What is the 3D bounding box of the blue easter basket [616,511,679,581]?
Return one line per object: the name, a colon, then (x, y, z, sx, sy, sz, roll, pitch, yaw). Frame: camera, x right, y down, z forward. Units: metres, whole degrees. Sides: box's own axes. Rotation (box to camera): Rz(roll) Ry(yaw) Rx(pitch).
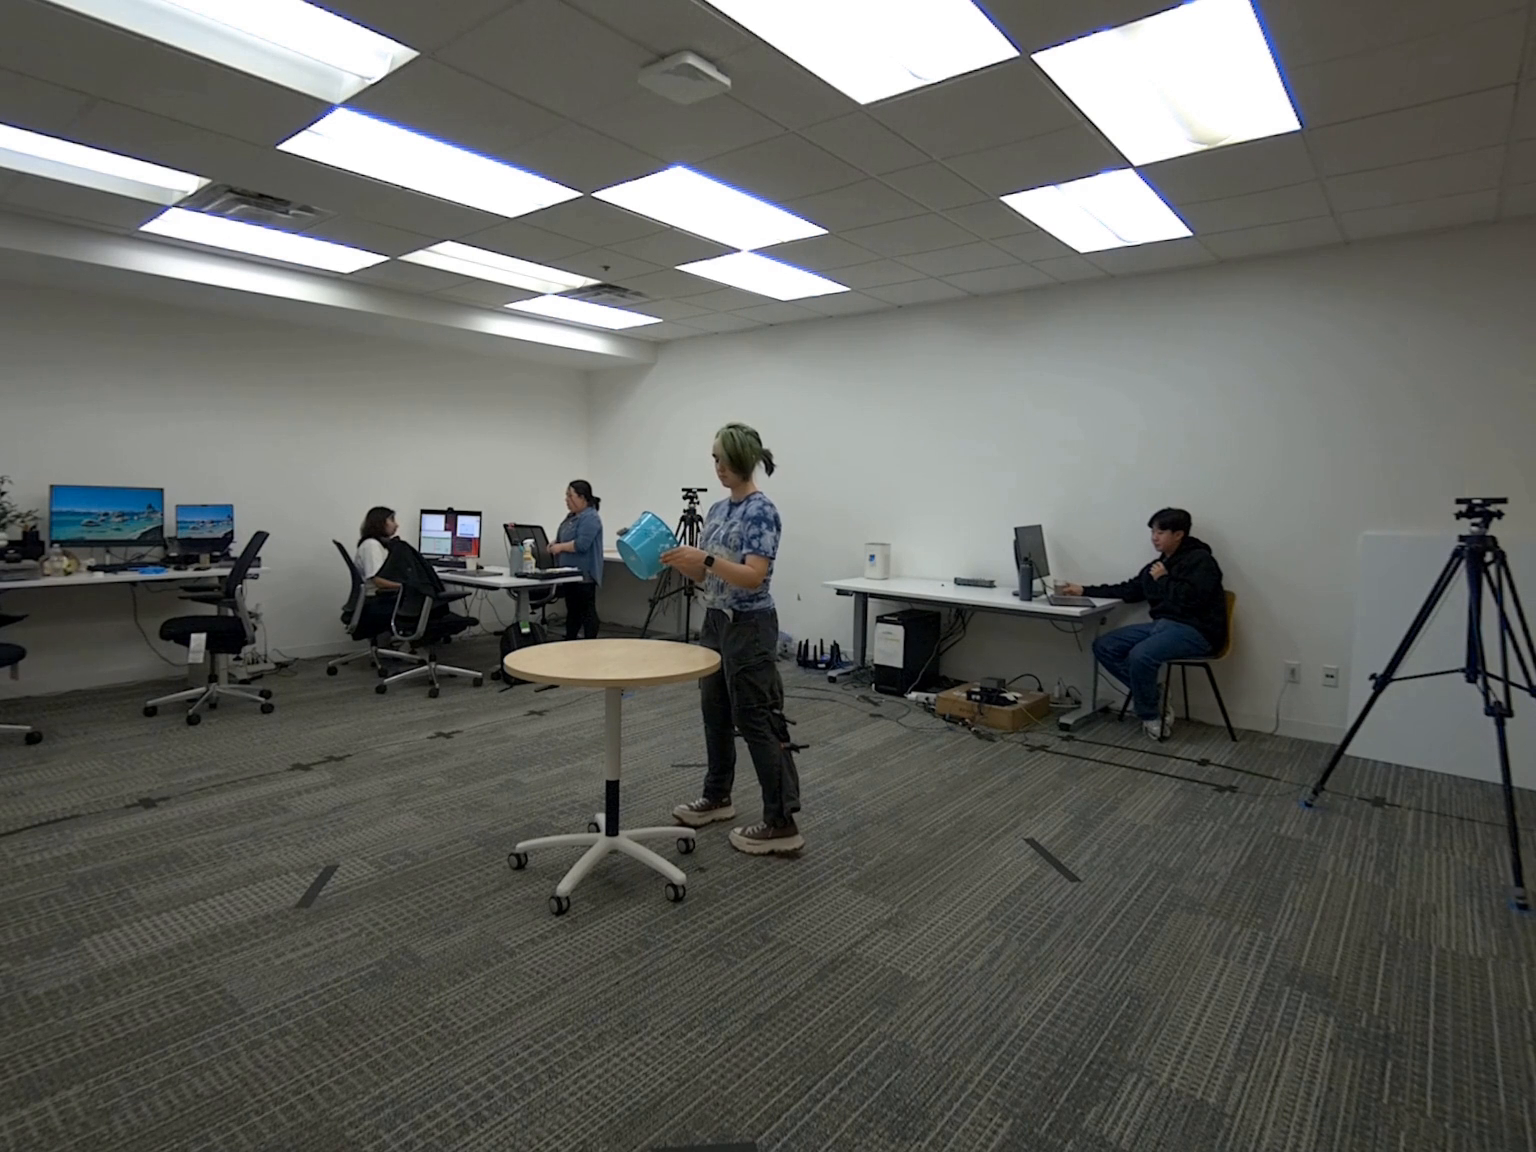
blue easter basket: (-0.473, -0.108, 3.202, 0.155, 0.237, 0.251, -38, 22, -24)
